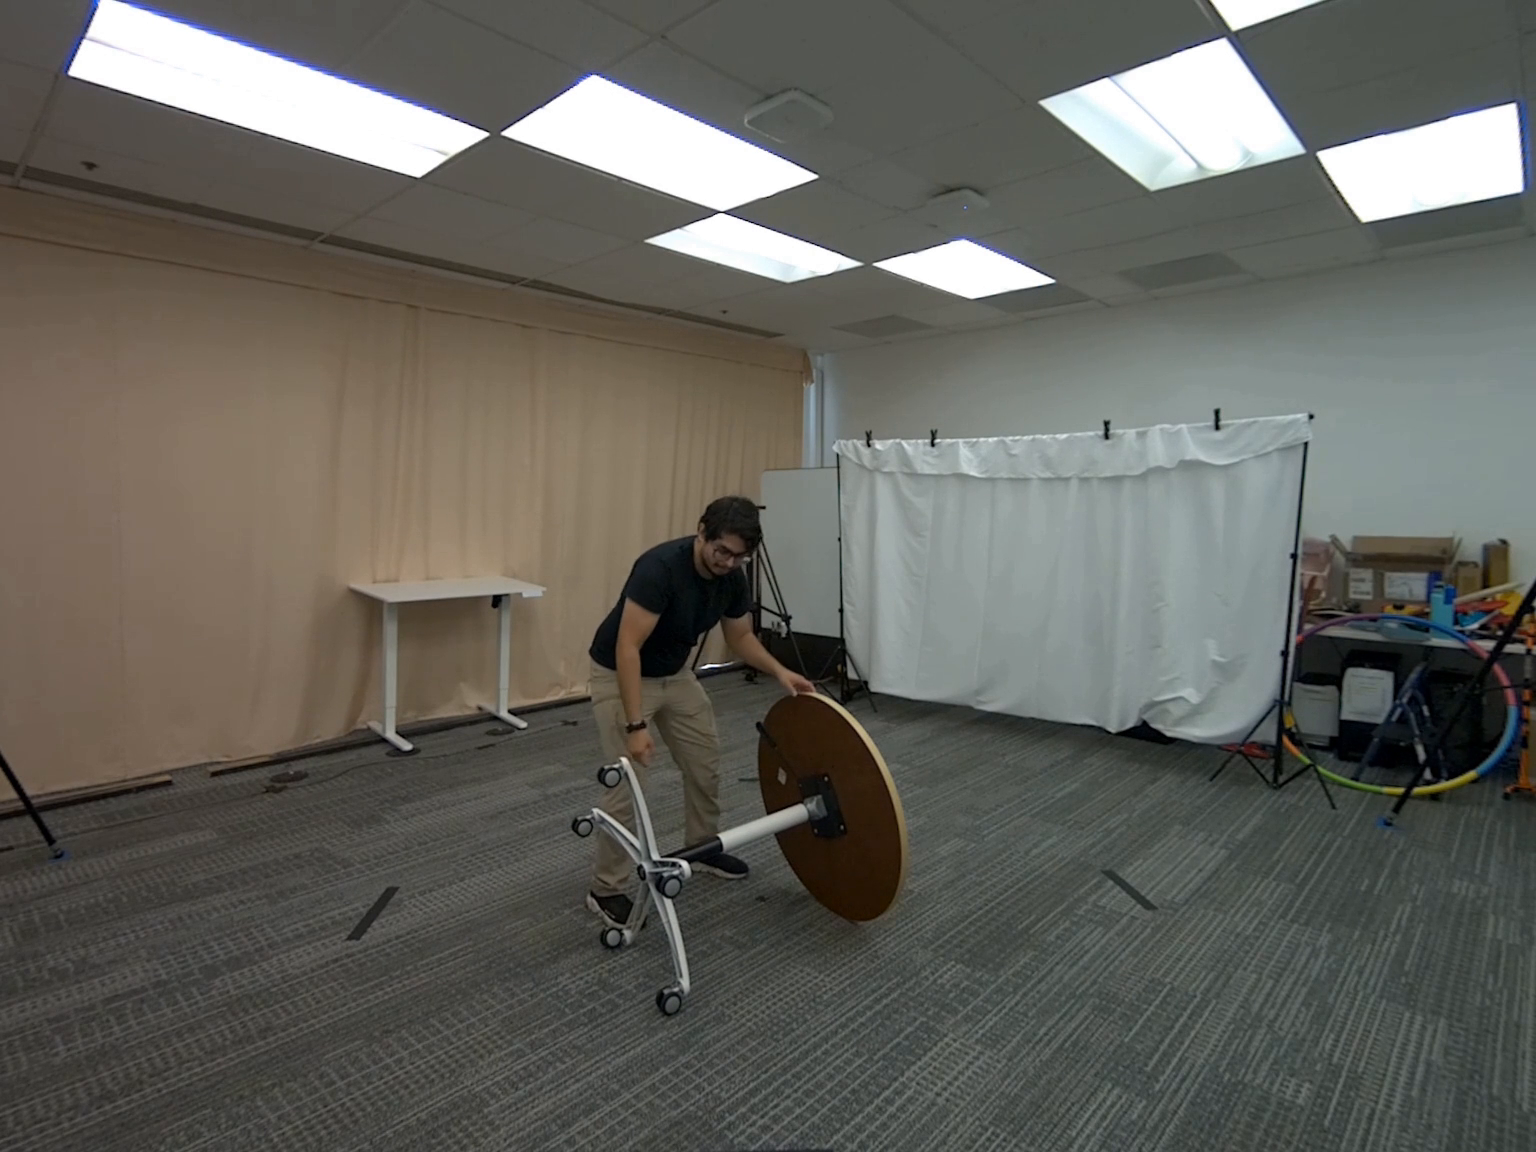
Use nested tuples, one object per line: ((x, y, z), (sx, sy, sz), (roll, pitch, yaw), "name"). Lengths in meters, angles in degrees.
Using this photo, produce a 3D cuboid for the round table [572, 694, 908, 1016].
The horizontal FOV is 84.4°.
((-0.113, 0.837, 2.655), (0.767, 0.781, 0.809), (-11, 9, -32), "round table")
